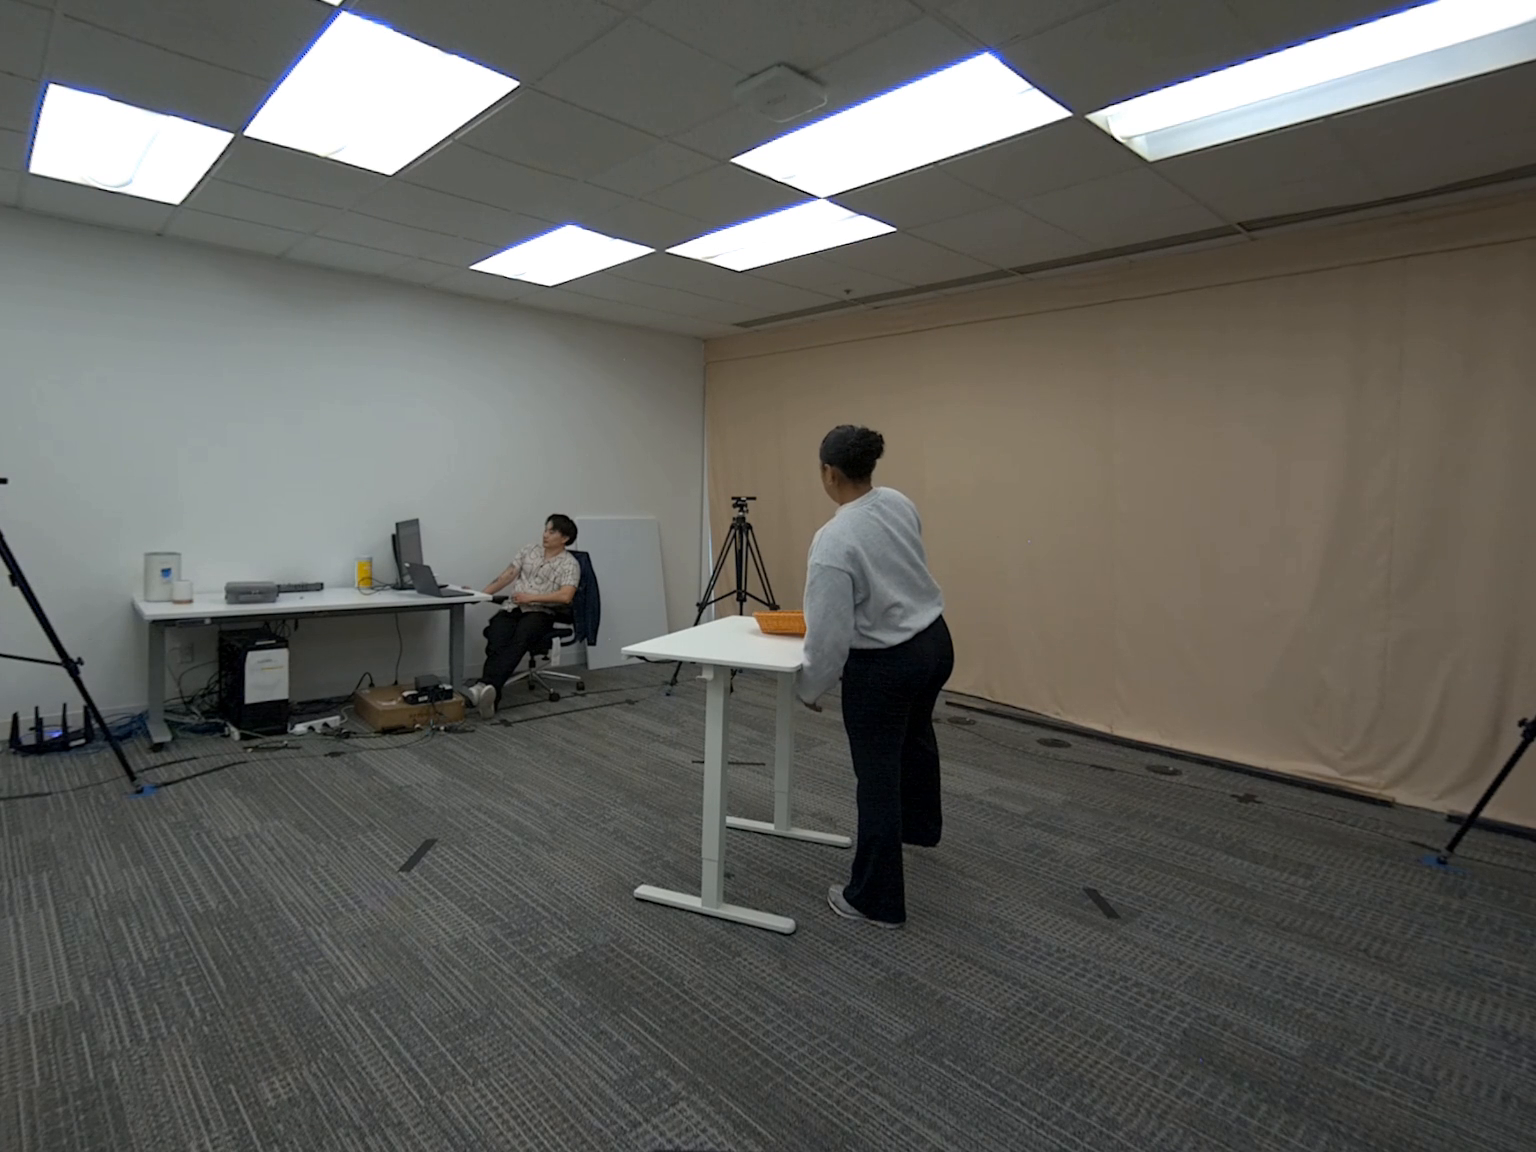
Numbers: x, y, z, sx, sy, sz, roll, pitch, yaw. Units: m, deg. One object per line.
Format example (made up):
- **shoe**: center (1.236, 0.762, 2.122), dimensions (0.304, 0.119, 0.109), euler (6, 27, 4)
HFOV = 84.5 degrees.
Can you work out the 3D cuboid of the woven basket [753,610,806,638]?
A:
- **woven basket**: center (0.117, 0.169, 3.214), dimensions (0.358, 0.073, 0.247), euler (1, 0, 32)
